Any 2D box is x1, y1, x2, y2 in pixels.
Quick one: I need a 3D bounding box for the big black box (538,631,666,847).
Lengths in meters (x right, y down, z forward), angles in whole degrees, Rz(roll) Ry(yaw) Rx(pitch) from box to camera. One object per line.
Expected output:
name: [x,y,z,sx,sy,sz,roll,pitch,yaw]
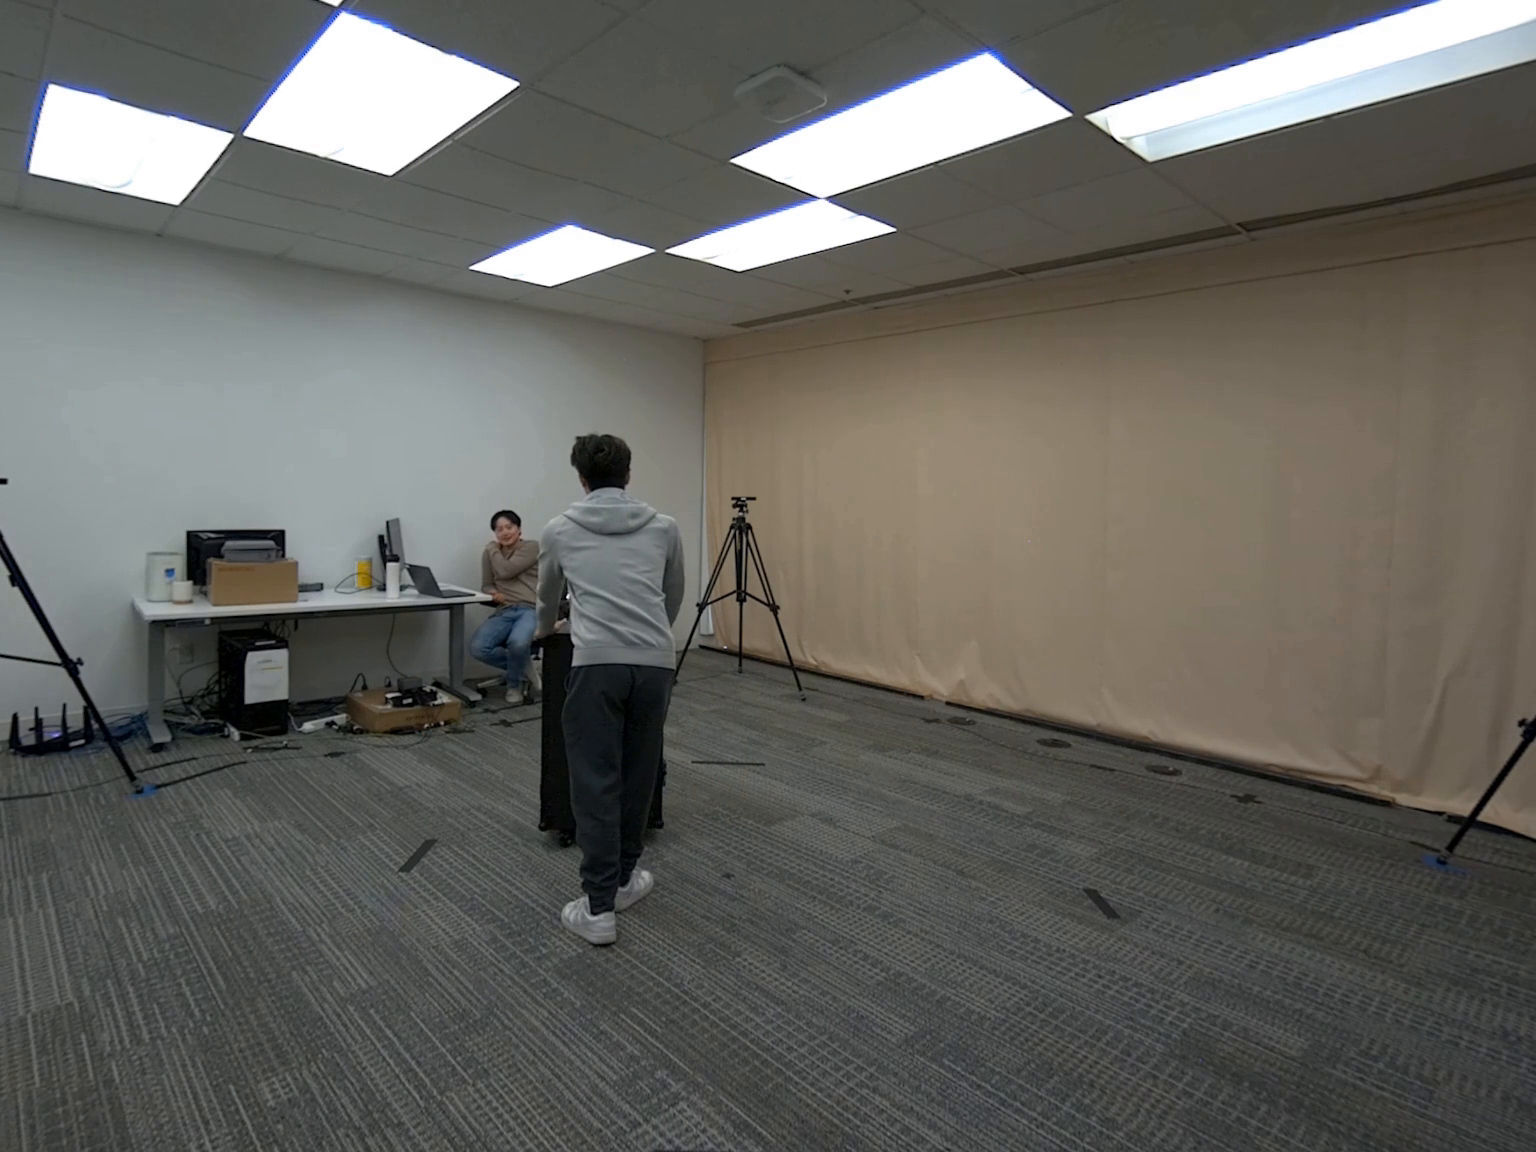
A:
big black box: [-0.693,0.637,3.497,0.518,0.860,0.399,1,2,-7]
